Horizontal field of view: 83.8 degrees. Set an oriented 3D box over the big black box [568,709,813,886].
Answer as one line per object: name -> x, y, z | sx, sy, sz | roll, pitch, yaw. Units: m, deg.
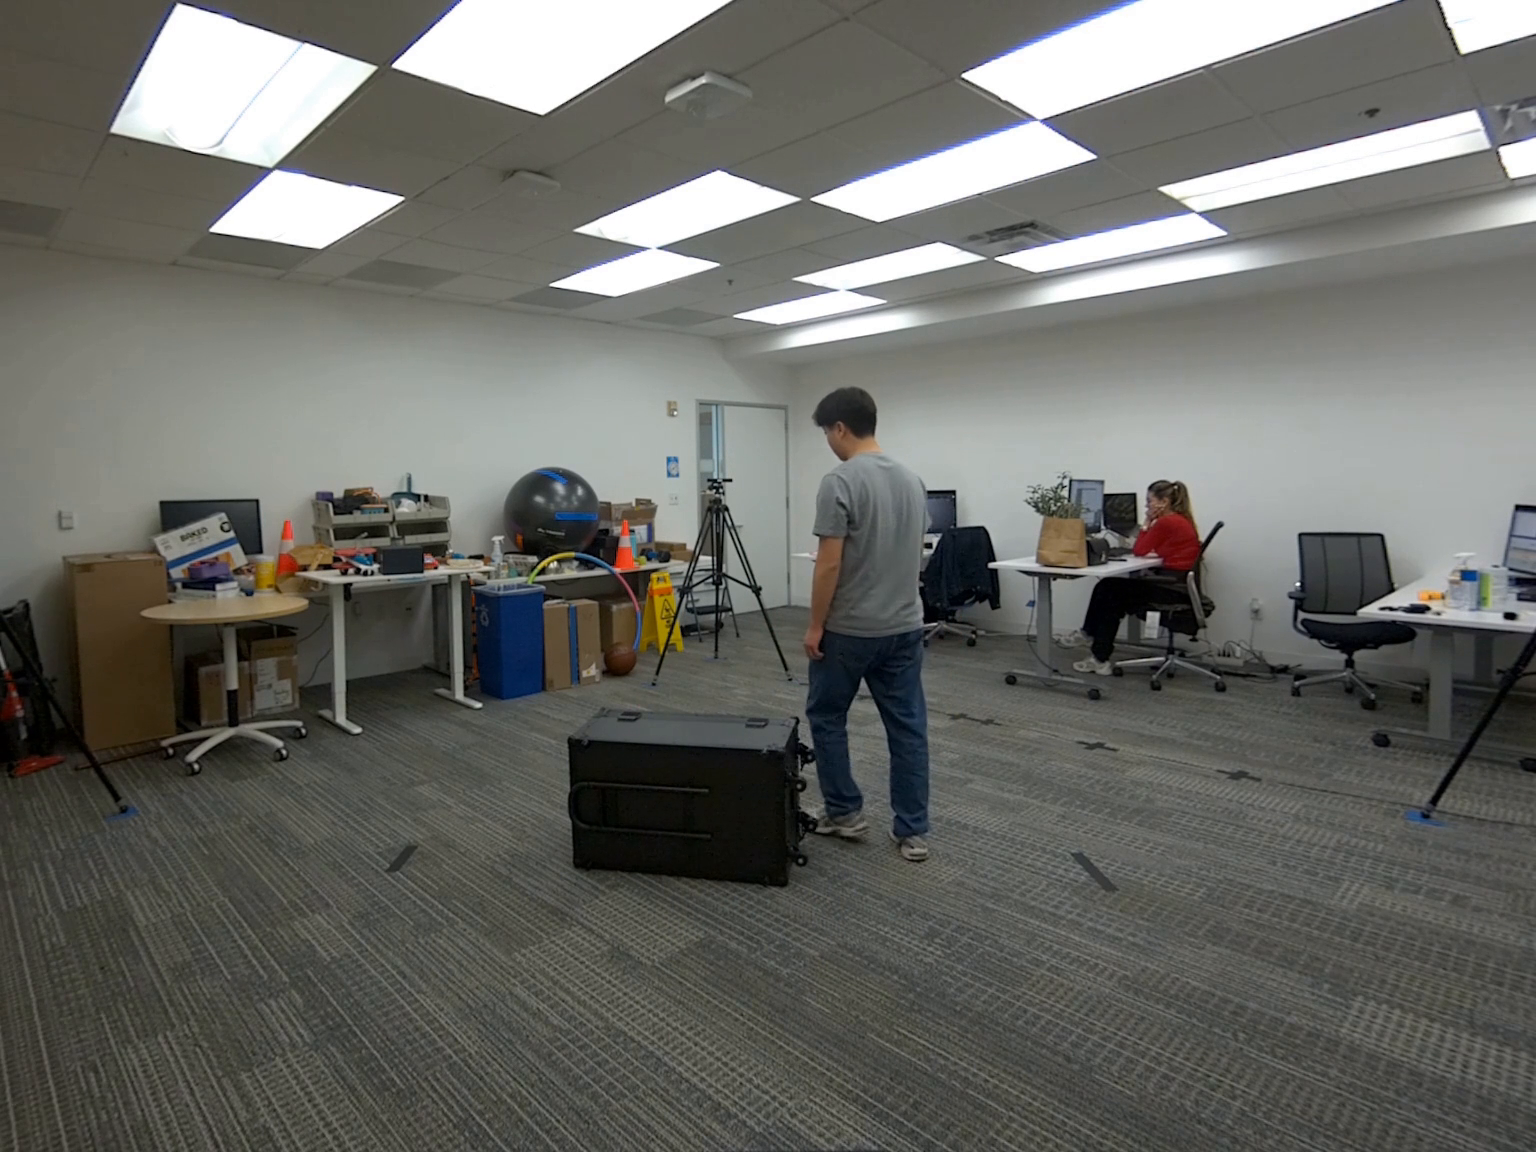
big black box -> -0.327, 0.794, 3.145 | 0.873, 0.519, 0.393 | 0, 6, 13
